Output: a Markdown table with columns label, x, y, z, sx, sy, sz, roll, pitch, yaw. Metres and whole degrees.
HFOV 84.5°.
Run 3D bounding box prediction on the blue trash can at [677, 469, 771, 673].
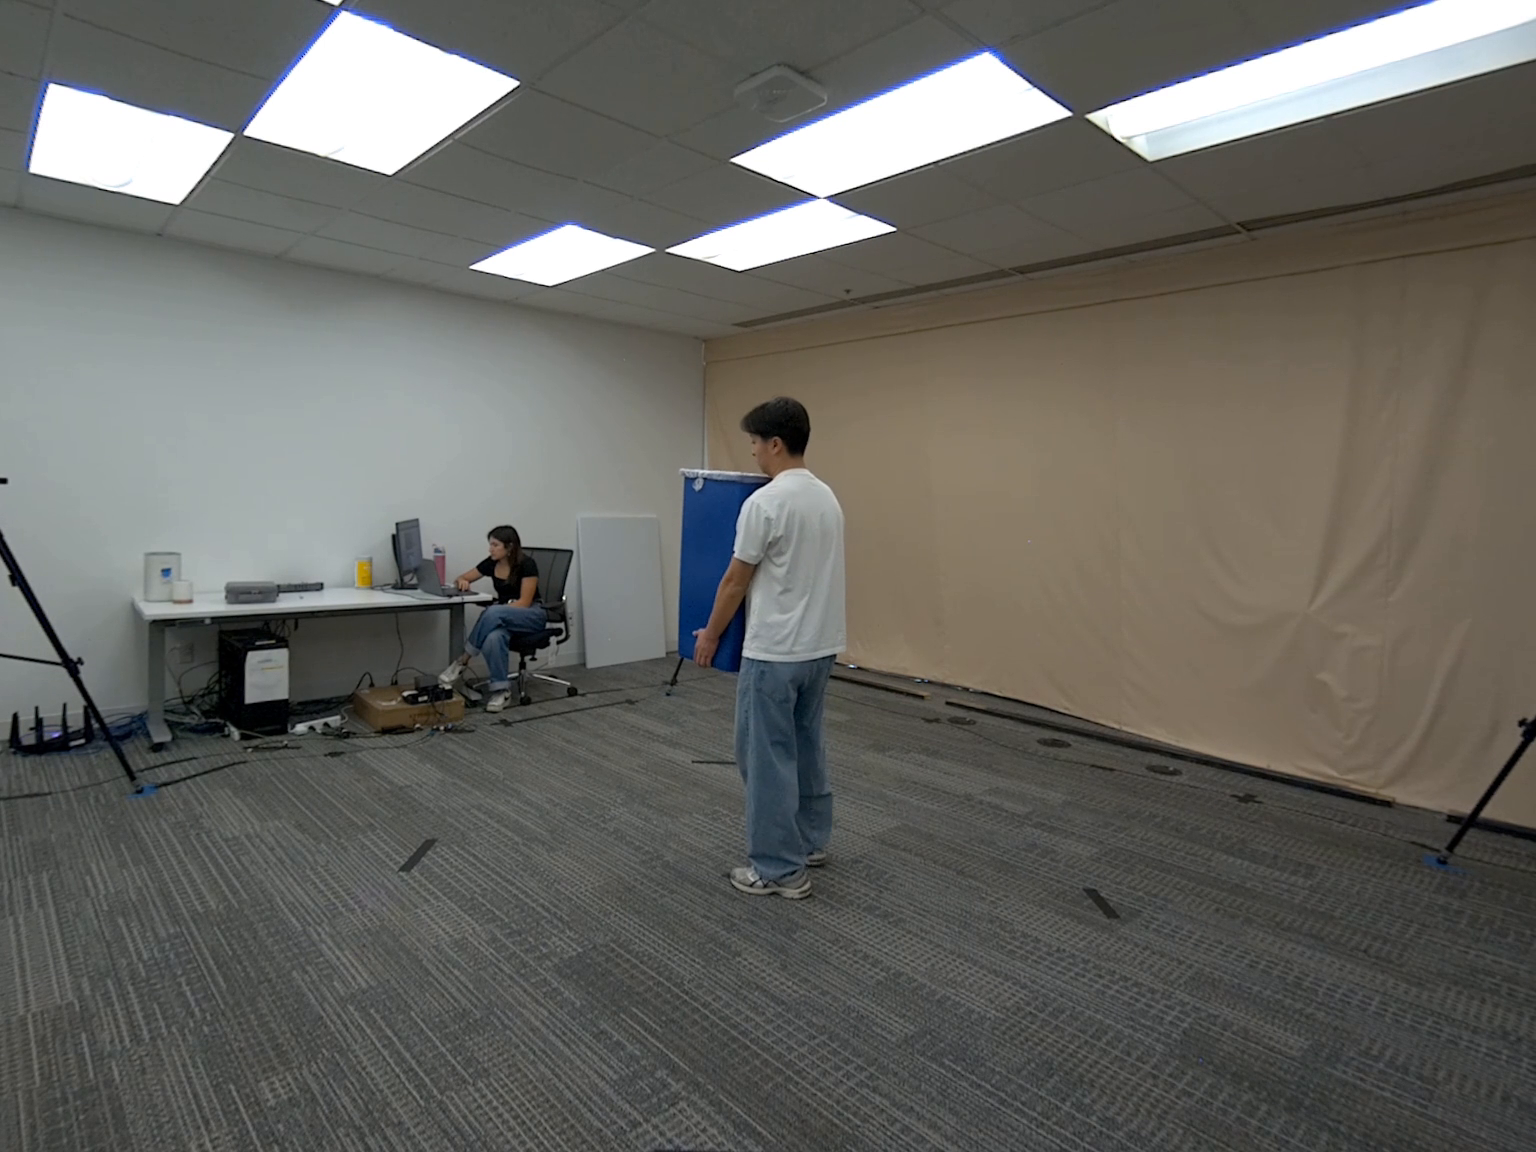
| label | x | y | z | sx | sy | sz | roll | pitch | yaw |
| --- | --- | --- | --- | --- | --- | --- | --- | --- | --- |
| blue trash can | -0.121 | -0.037 | 3.221 | 0.365 | 0.710 | 0.388 | -2 | 9 | -45 |
